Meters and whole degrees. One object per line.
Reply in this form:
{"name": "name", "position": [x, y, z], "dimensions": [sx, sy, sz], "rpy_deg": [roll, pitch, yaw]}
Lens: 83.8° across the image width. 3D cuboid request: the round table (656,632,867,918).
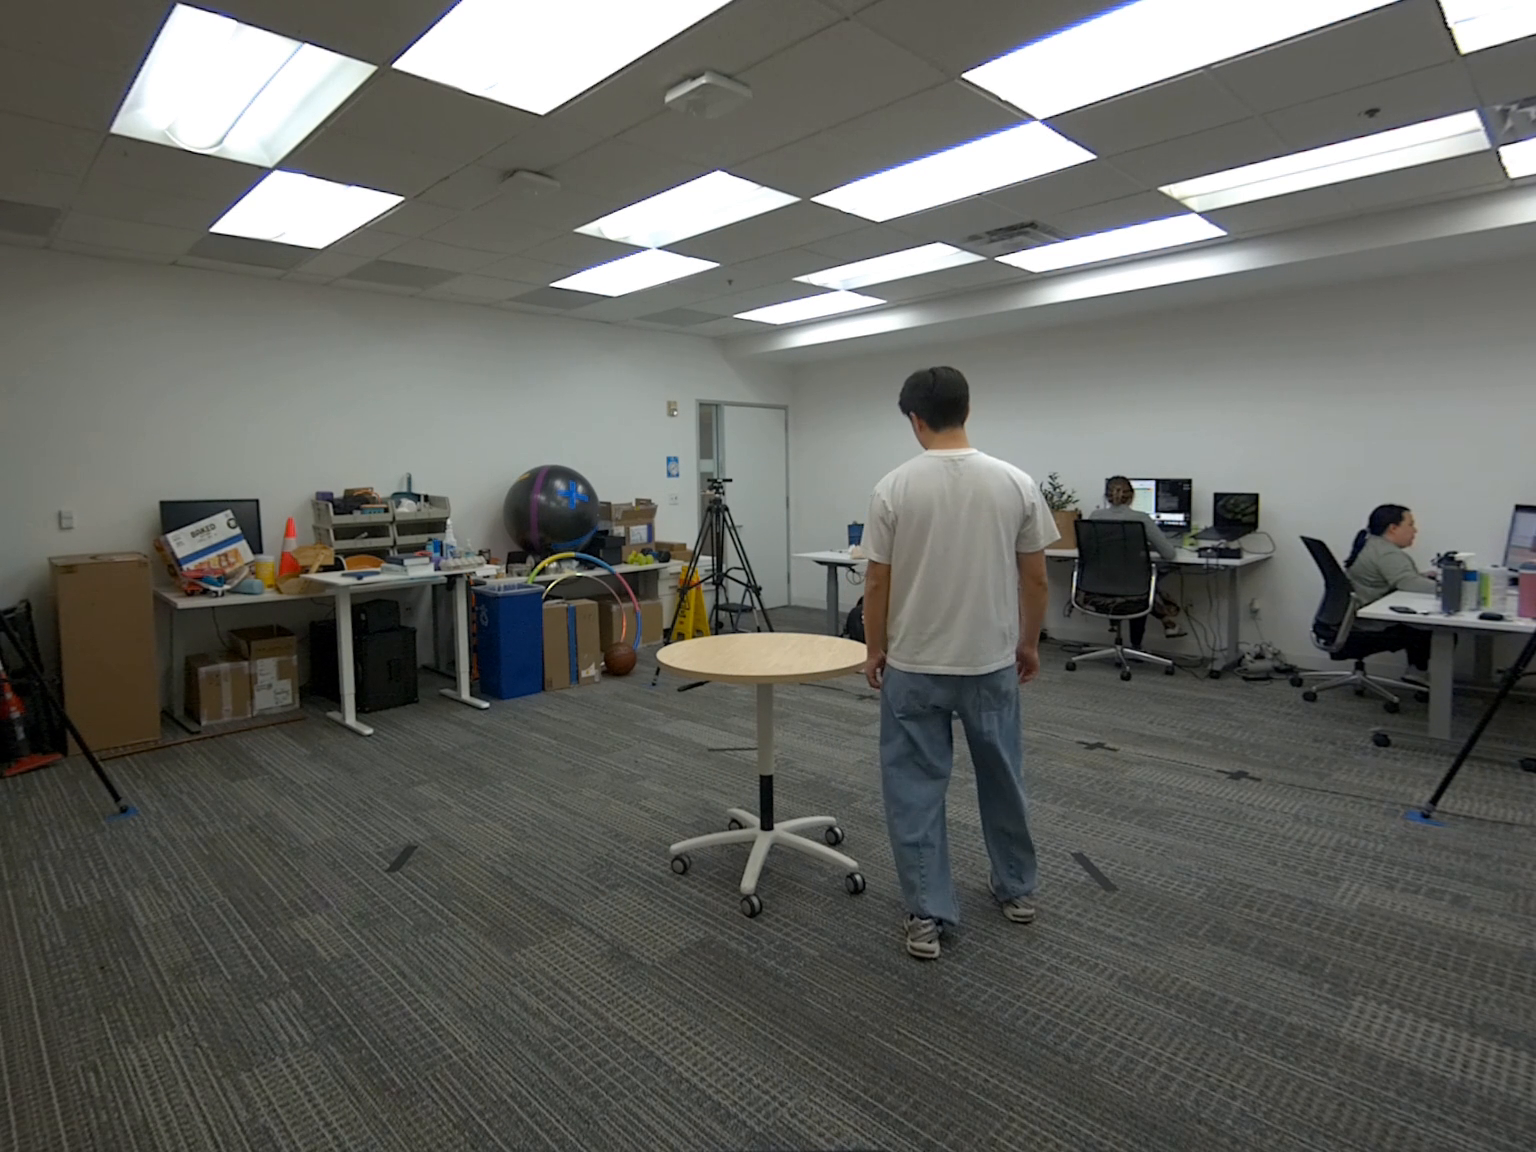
{"name": "round table", "position": [-0.007, 0.660, 3.059], "dimensions": [0.763, 0.791, 0.768], "rpy_deg": [-1, 4, -2]}
